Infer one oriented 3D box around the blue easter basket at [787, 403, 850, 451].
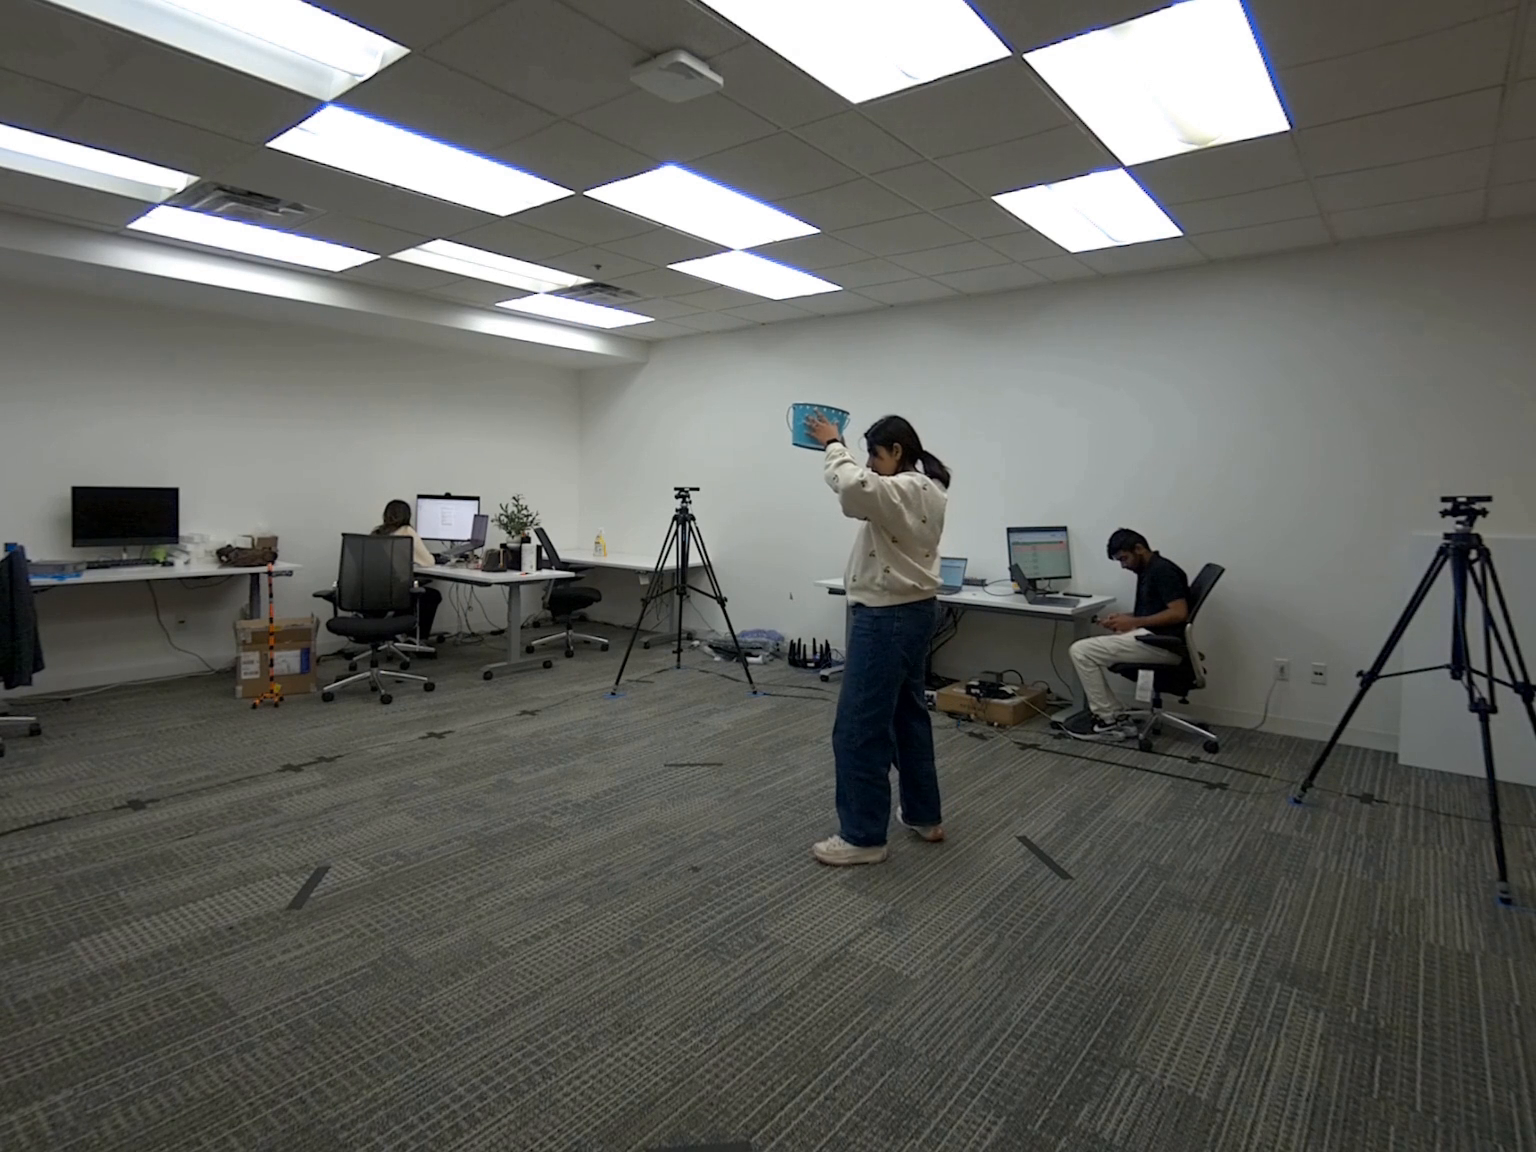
[{"bbox_3d":[0.195,-0.589,3.350,0.243,0.156,0.244,9,2,-2],"label":"blue easter basket"}]
